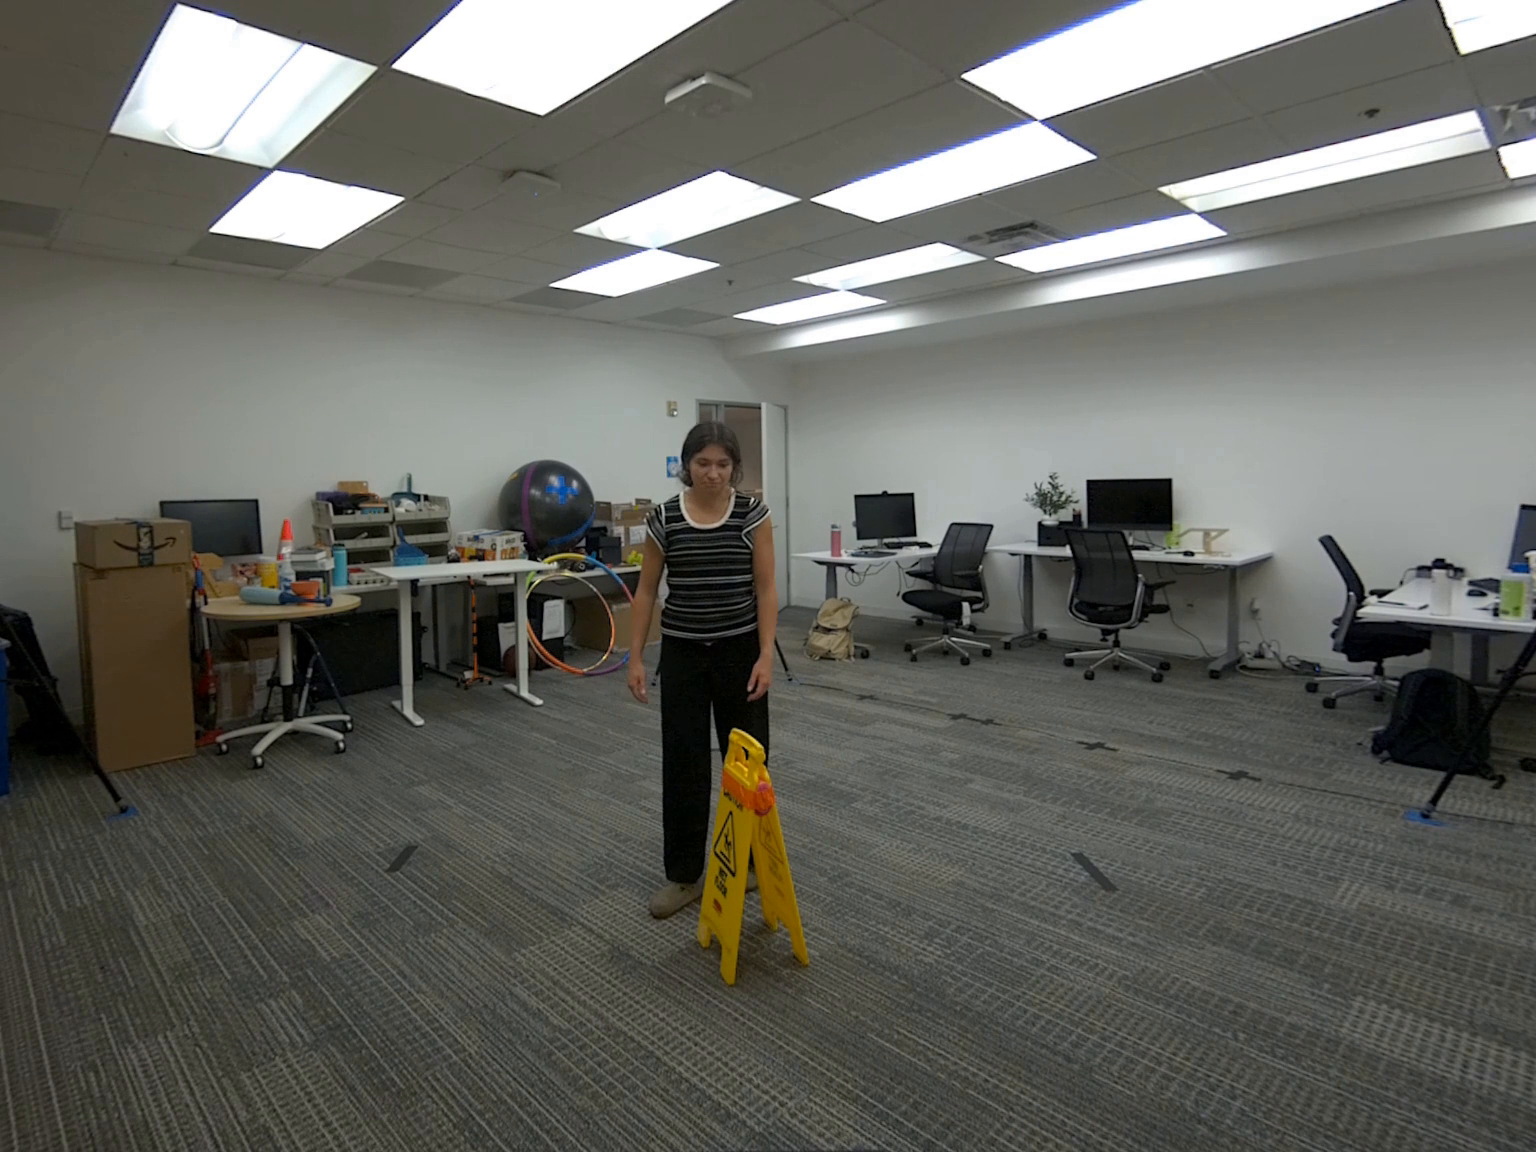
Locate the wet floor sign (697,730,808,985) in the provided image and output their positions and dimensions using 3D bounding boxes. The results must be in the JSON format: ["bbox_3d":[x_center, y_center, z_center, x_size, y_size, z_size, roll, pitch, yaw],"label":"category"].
[{"bbox_3d":[-0.055,0.794,2.501,0.284,0.643,0.289,-3,5,-22],"label":"wet floor sign"}]
